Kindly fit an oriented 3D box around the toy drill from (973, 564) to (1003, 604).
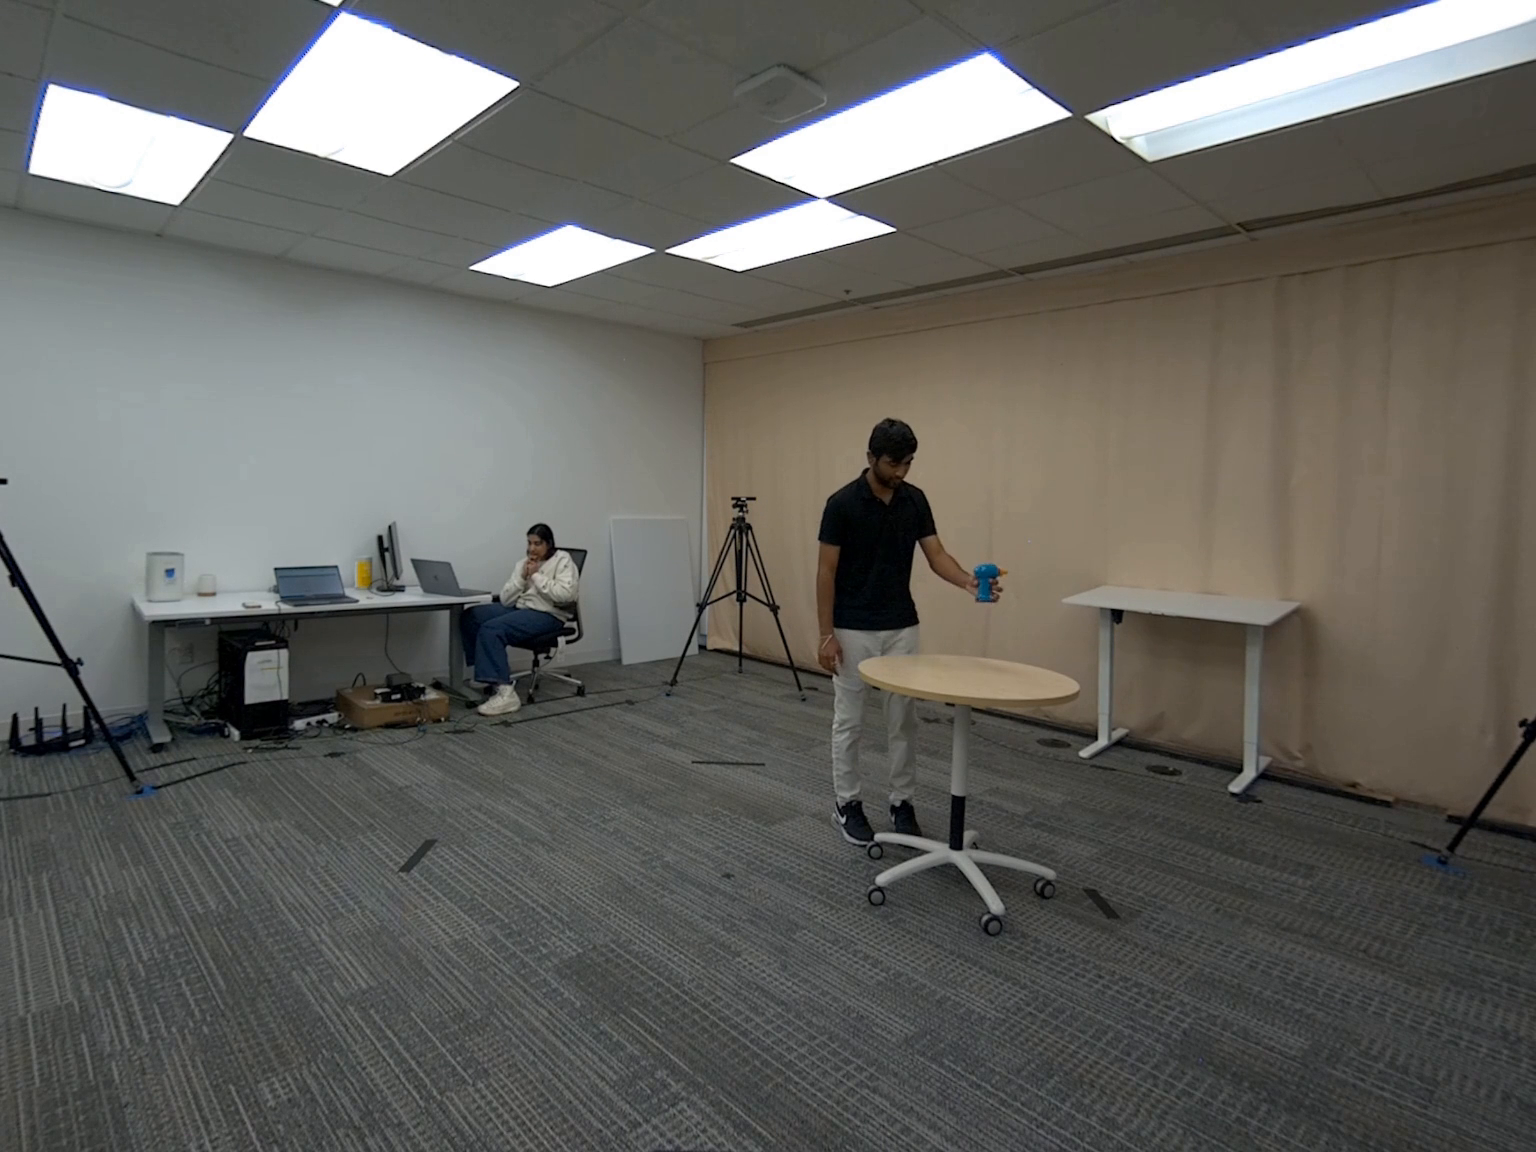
[{"bbox_3d":[0.828,0.030,3.136,0.166,0.146,0.062,2,-1,-37],"label":"toy drill"}]
